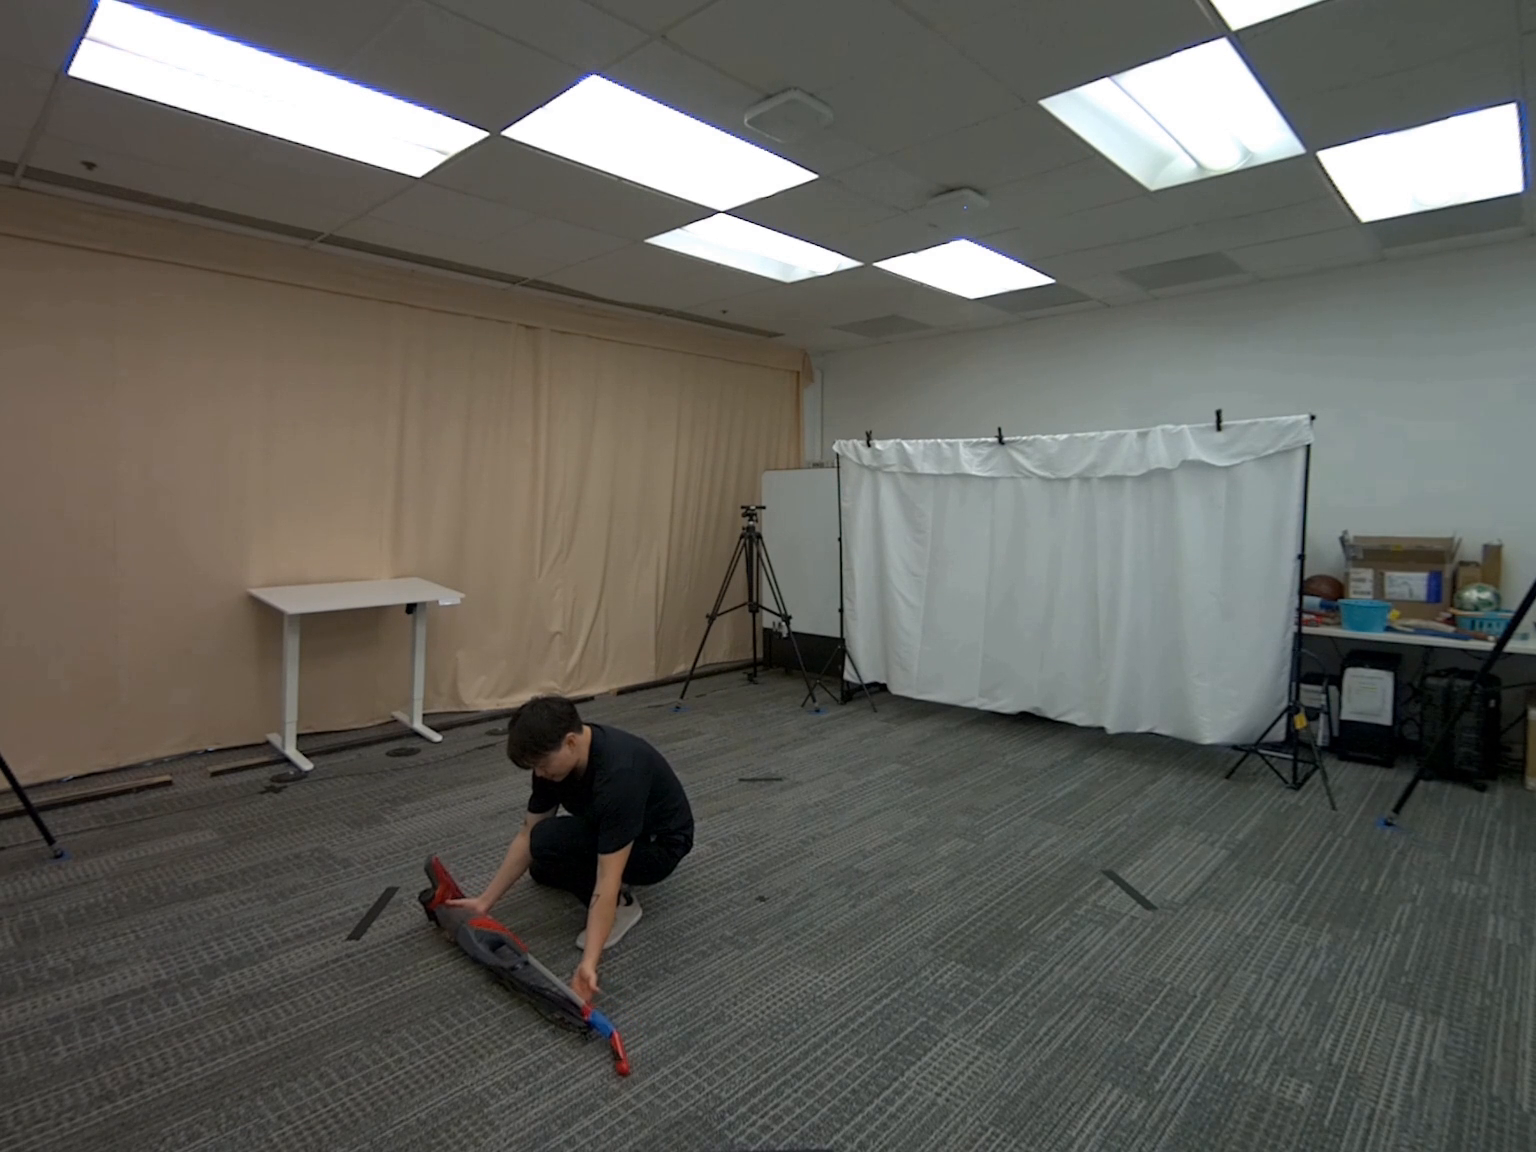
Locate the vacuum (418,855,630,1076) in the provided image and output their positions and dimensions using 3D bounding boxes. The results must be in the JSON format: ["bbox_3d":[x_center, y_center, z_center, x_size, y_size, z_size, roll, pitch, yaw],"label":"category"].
[{"bbox_3d":[-0.731,1.134,2.450,1.087,0.246,0.142,12,42,46],"label":"vacuum"}]
